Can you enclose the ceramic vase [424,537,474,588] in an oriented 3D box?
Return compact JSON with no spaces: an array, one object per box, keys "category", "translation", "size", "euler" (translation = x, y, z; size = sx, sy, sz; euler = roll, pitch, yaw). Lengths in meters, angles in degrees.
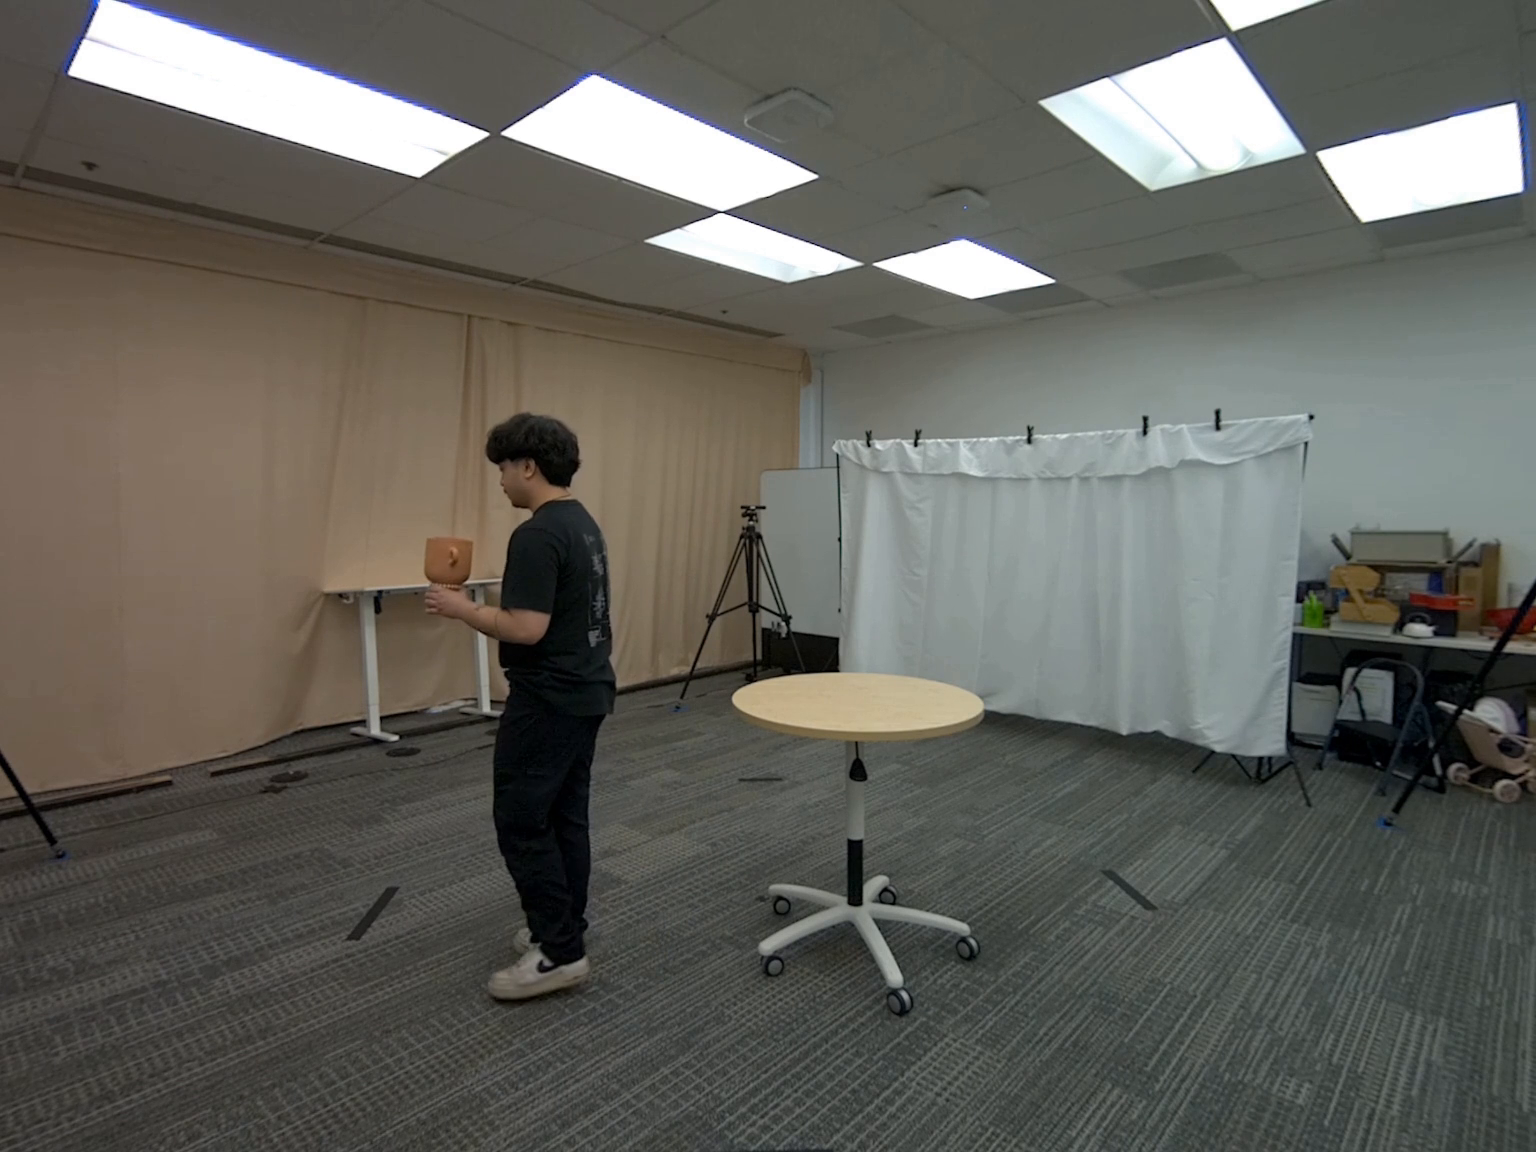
[{"category":"ceramic vase","translation":[-0.933,0.003,2.493],"size":[0.136,0.220,0.157],"euler":[3,0,10]}]
